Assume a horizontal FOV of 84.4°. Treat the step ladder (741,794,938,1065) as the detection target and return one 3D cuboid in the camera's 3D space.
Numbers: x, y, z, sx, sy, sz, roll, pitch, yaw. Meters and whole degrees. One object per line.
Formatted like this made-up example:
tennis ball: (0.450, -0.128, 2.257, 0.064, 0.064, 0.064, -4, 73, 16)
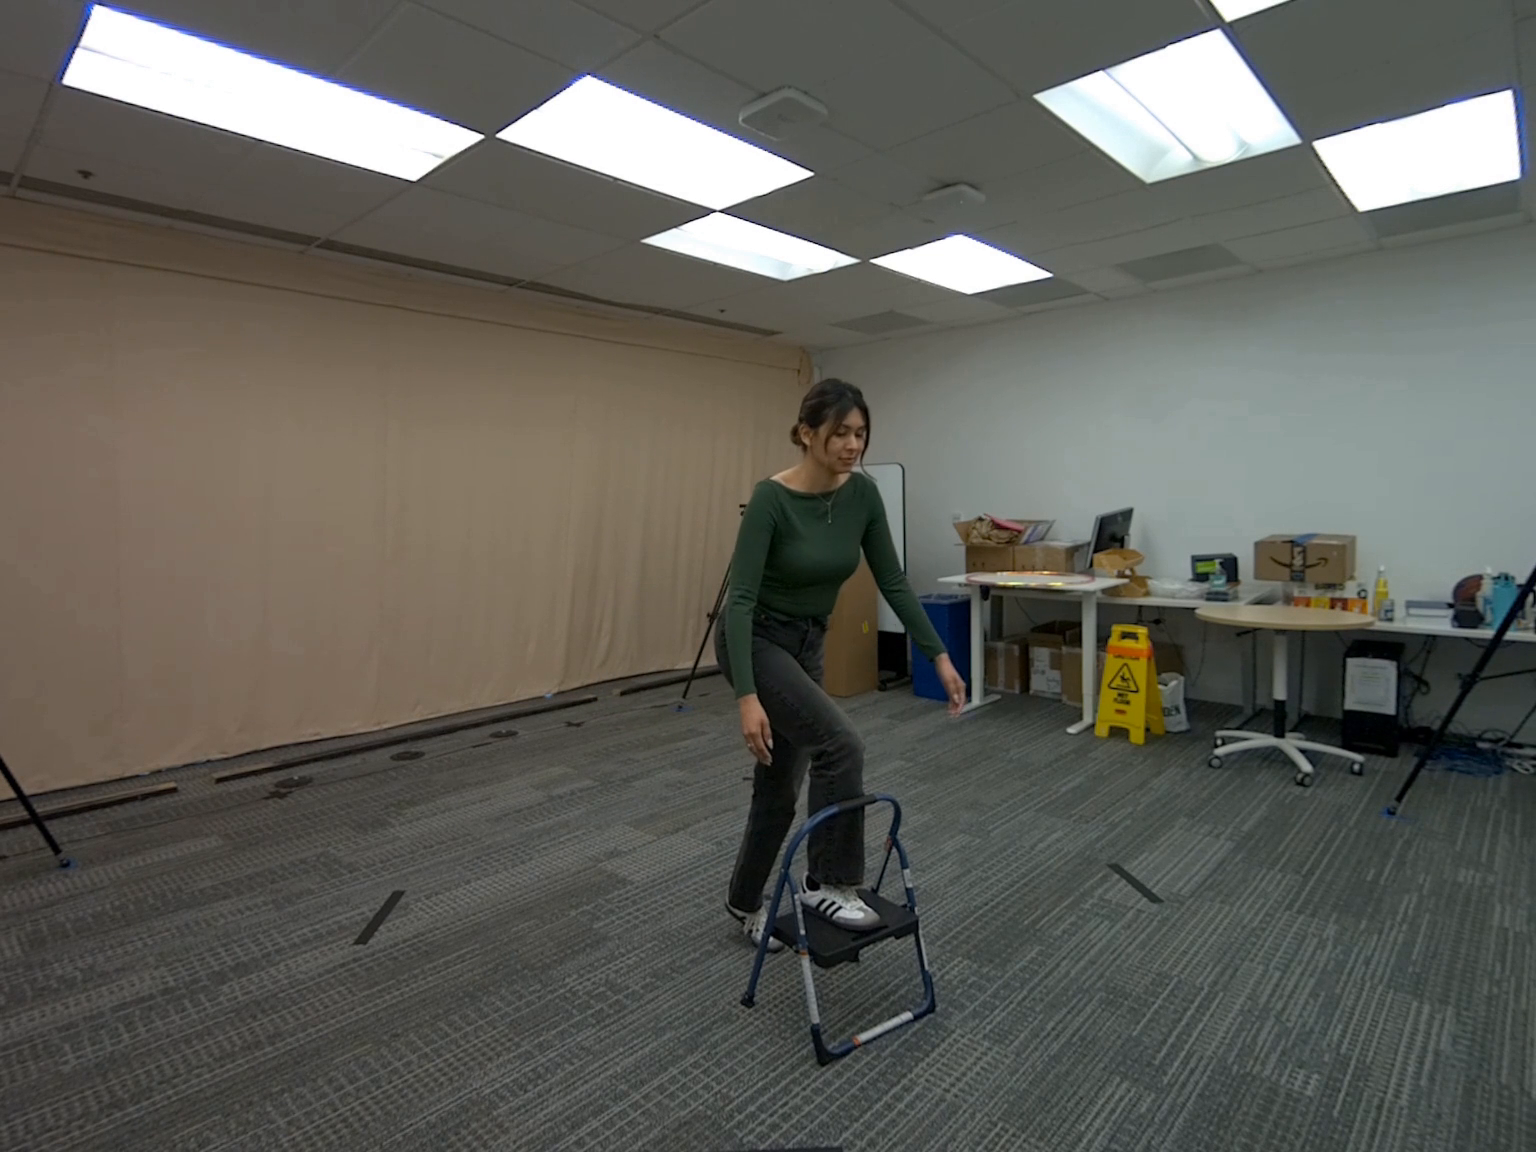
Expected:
step ladder: (0.197, 0.893, 2.315, 0.418, 0.605, 0.360, -4, 4, -36)
